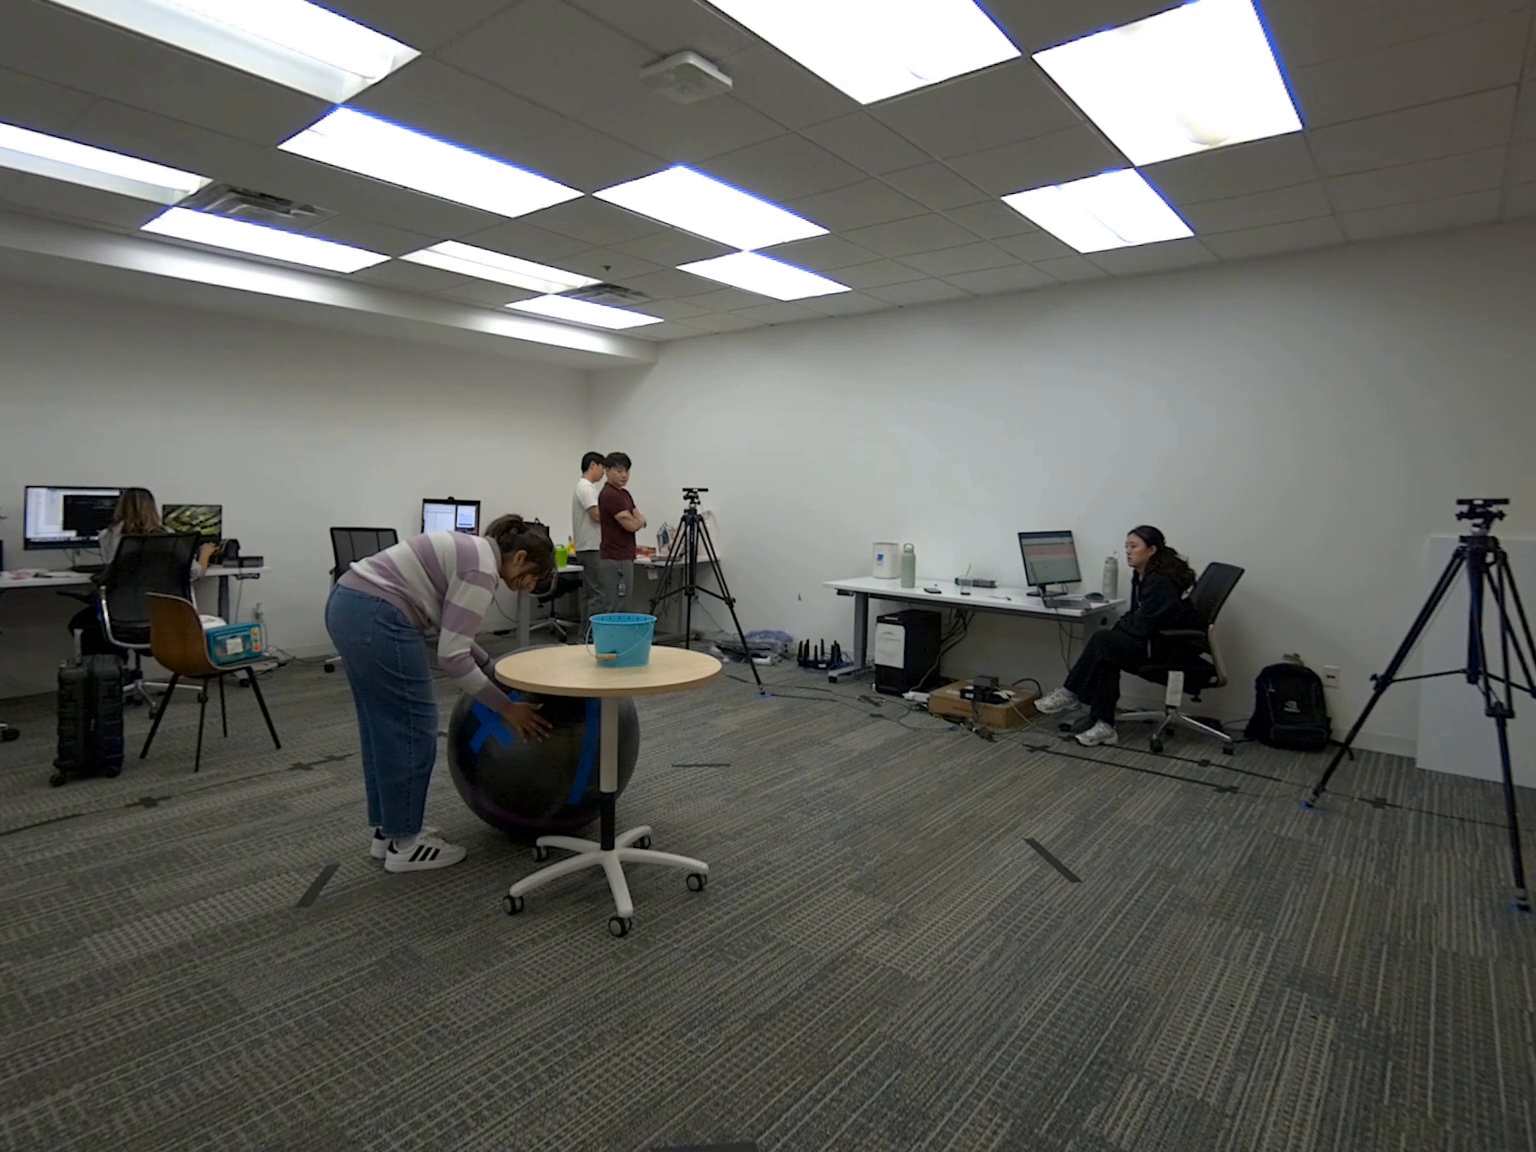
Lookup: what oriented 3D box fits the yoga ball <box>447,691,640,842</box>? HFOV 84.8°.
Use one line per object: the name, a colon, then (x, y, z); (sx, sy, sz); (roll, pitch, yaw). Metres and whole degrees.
yoga ball: (-0.911, 0.655, 3.446); (0.757, 0.755, 0.762); (1, 4, -2)
